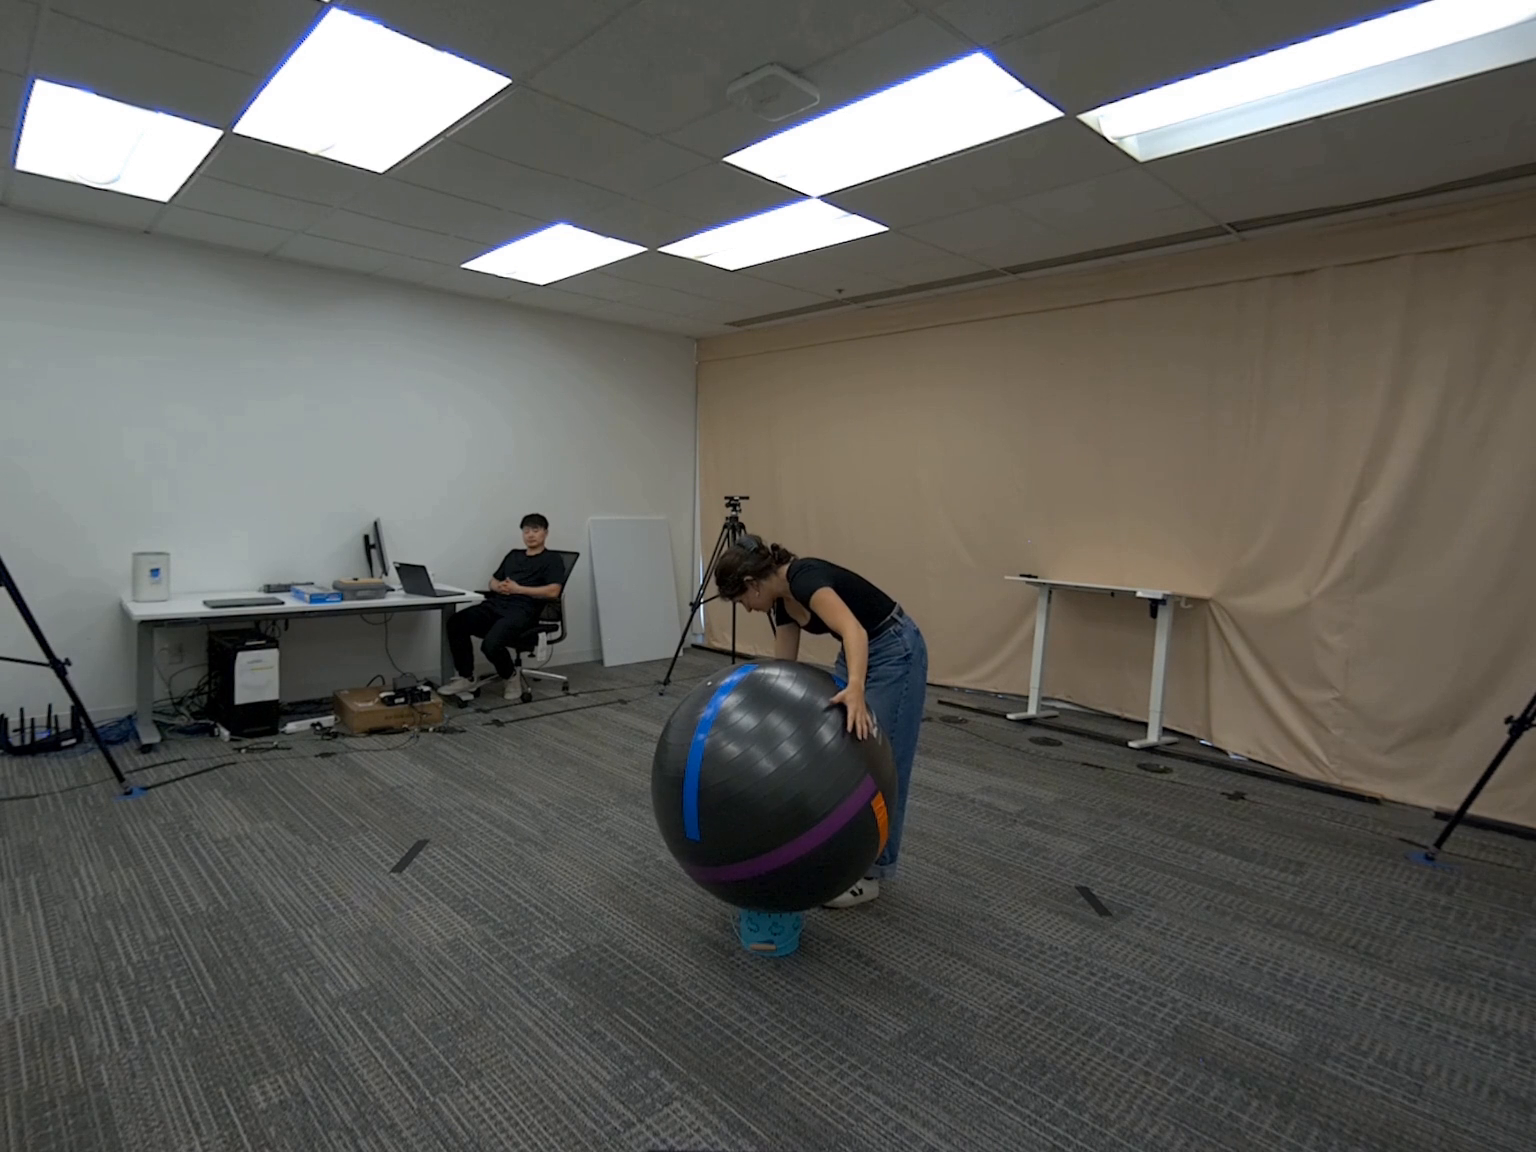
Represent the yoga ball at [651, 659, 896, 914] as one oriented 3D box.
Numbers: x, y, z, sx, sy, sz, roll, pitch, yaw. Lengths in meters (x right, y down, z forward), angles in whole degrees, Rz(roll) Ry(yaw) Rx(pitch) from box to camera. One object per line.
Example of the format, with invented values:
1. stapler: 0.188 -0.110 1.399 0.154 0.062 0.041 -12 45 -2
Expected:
1. yoga ball: 0.012 0.645 2.594 0.757 0.756 0.761 1 4 -1
